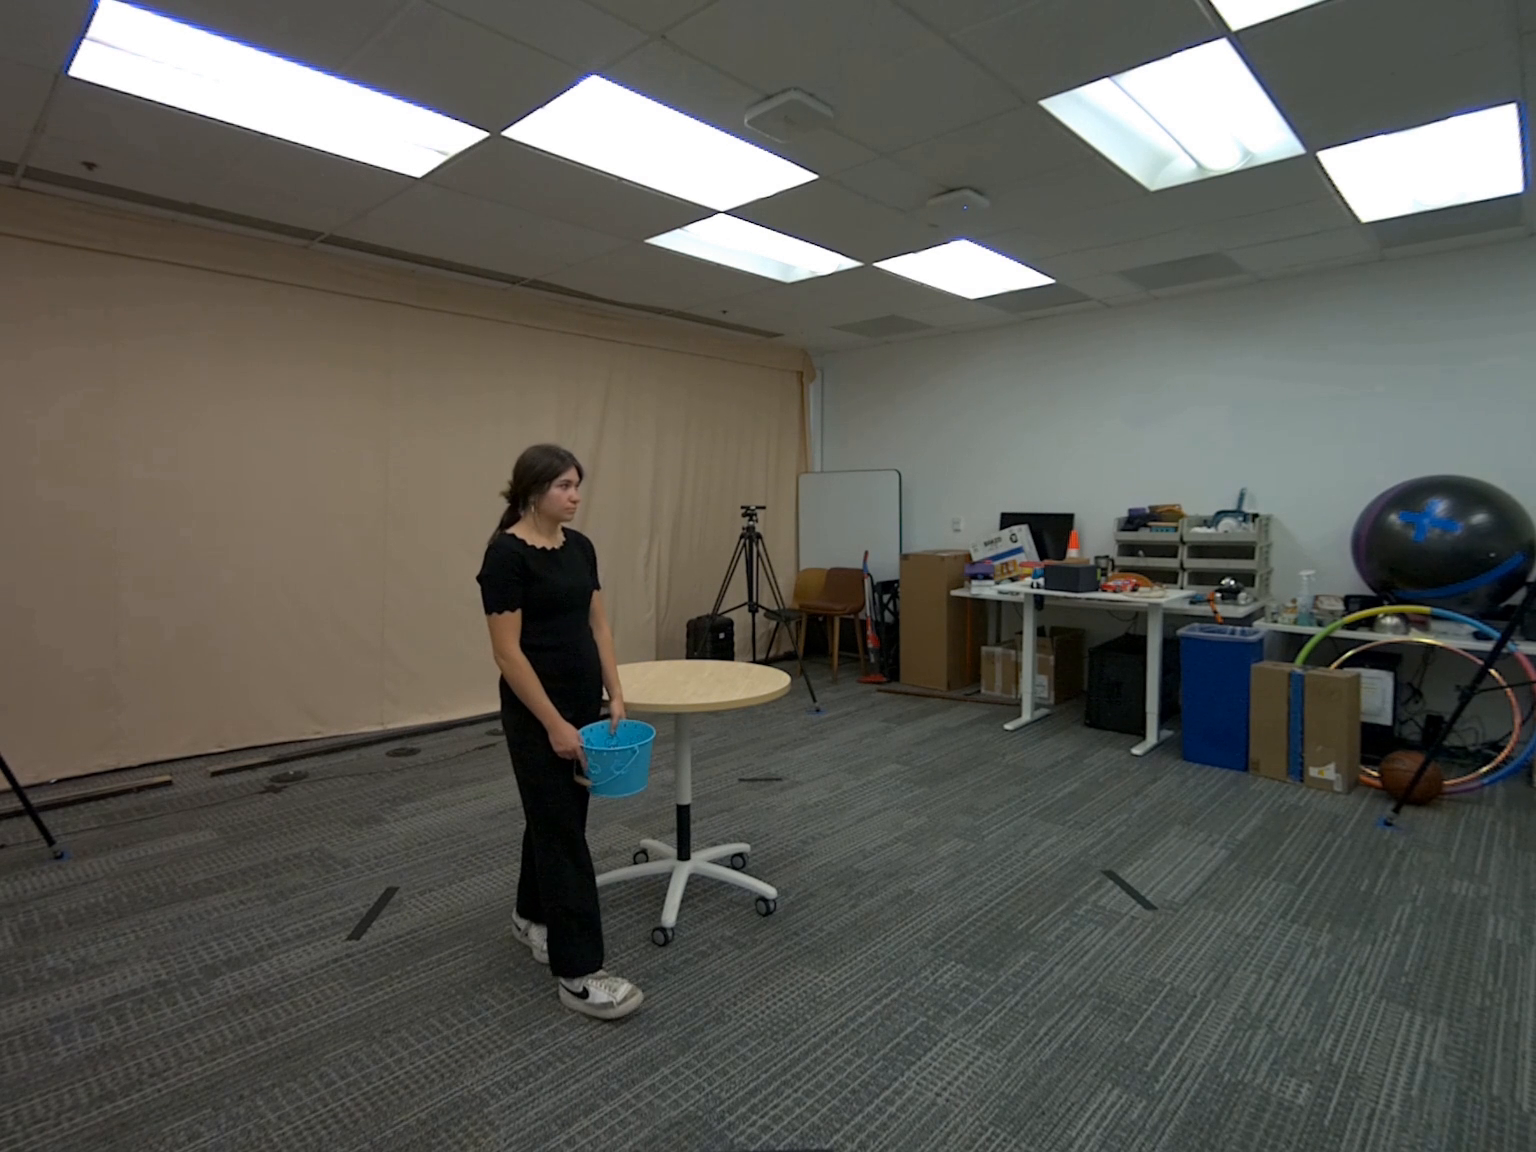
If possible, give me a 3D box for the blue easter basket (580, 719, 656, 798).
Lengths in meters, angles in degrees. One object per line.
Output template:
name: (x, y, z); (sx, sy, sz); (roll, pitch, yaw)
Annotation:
blue easter basket: (-0.457, 0.528, 2.421); (0.243, 0.155, 0.245); (-1, 8, -2)
